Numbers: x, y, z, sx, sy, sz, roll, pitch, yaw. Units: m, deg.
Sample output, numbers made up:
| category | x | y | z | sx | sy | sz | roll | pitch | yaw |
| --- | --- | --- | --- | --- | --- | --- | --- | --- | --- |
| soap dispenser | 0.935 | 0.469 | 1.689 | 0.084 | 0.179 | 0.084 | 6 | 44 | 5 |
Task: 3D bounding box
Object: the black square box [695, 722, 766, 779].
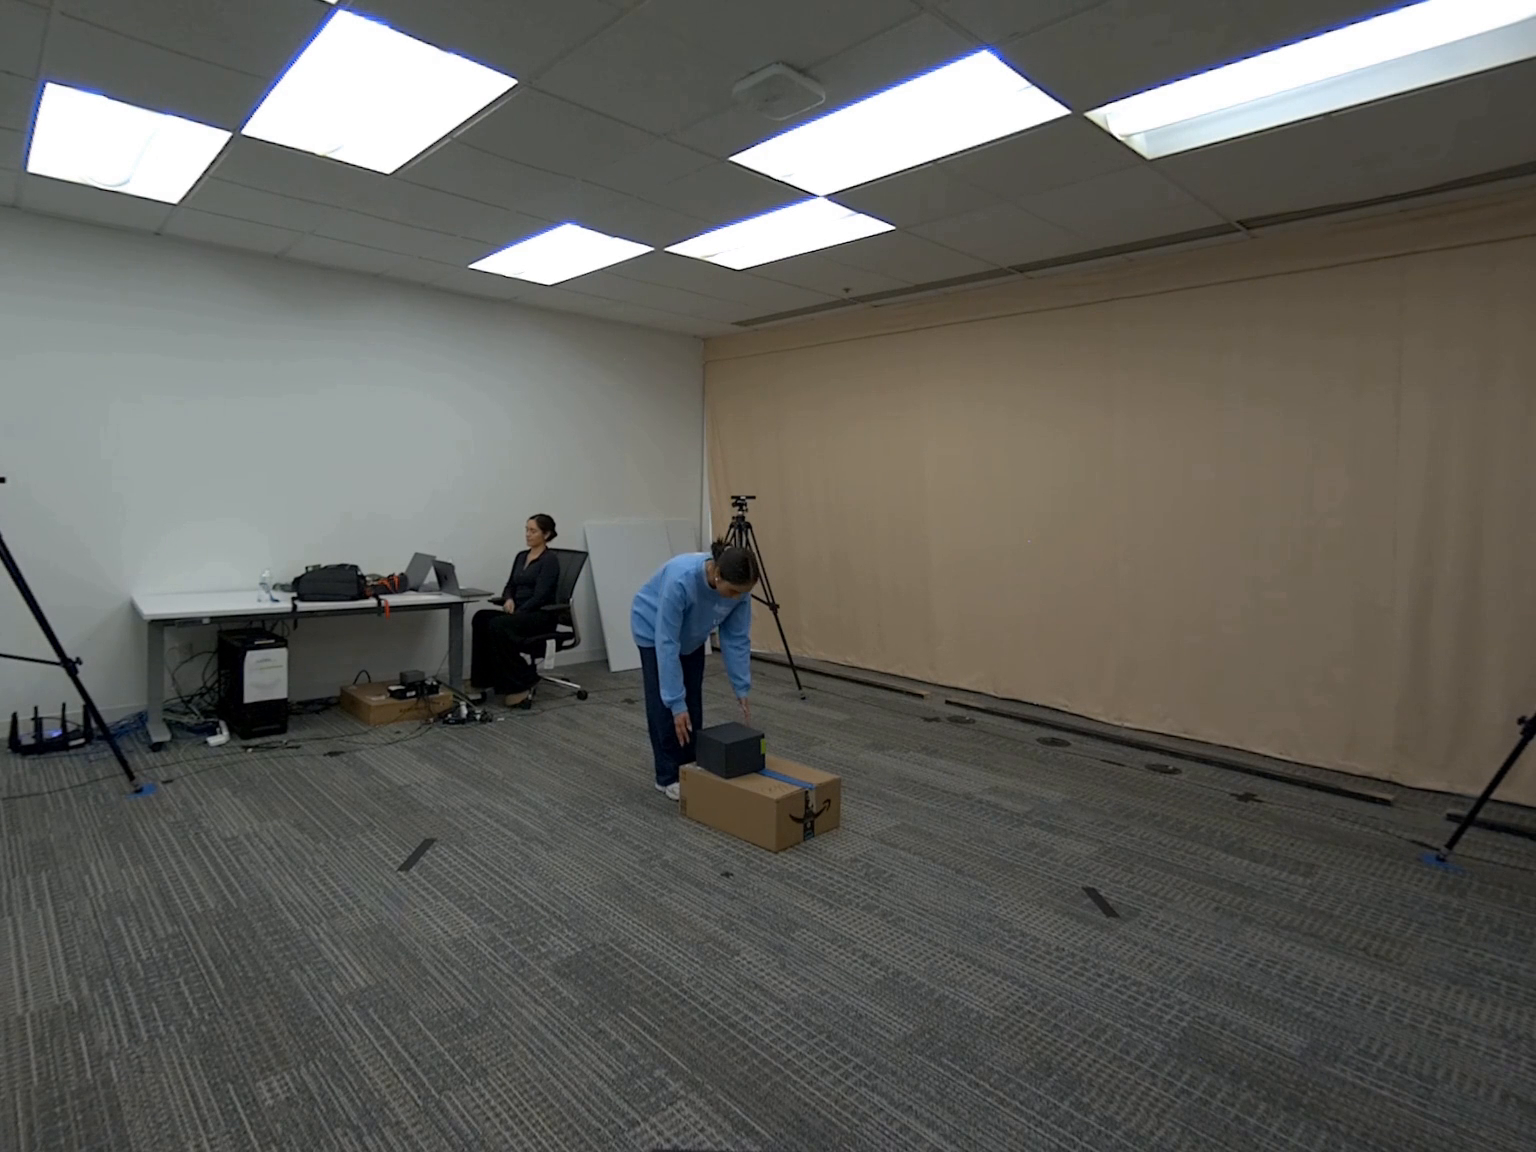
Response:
| category | x | y | z | sx | sy | sz | roll | pitch | yaw |
| --- | --- | --- | --- | --- | --- | --- | --- | --- | --- |
| black square box | -0.171 | 0.751 | 3.654 | 0.212 | 0.155 | 0.234 | -6 | 8 | -38 |
